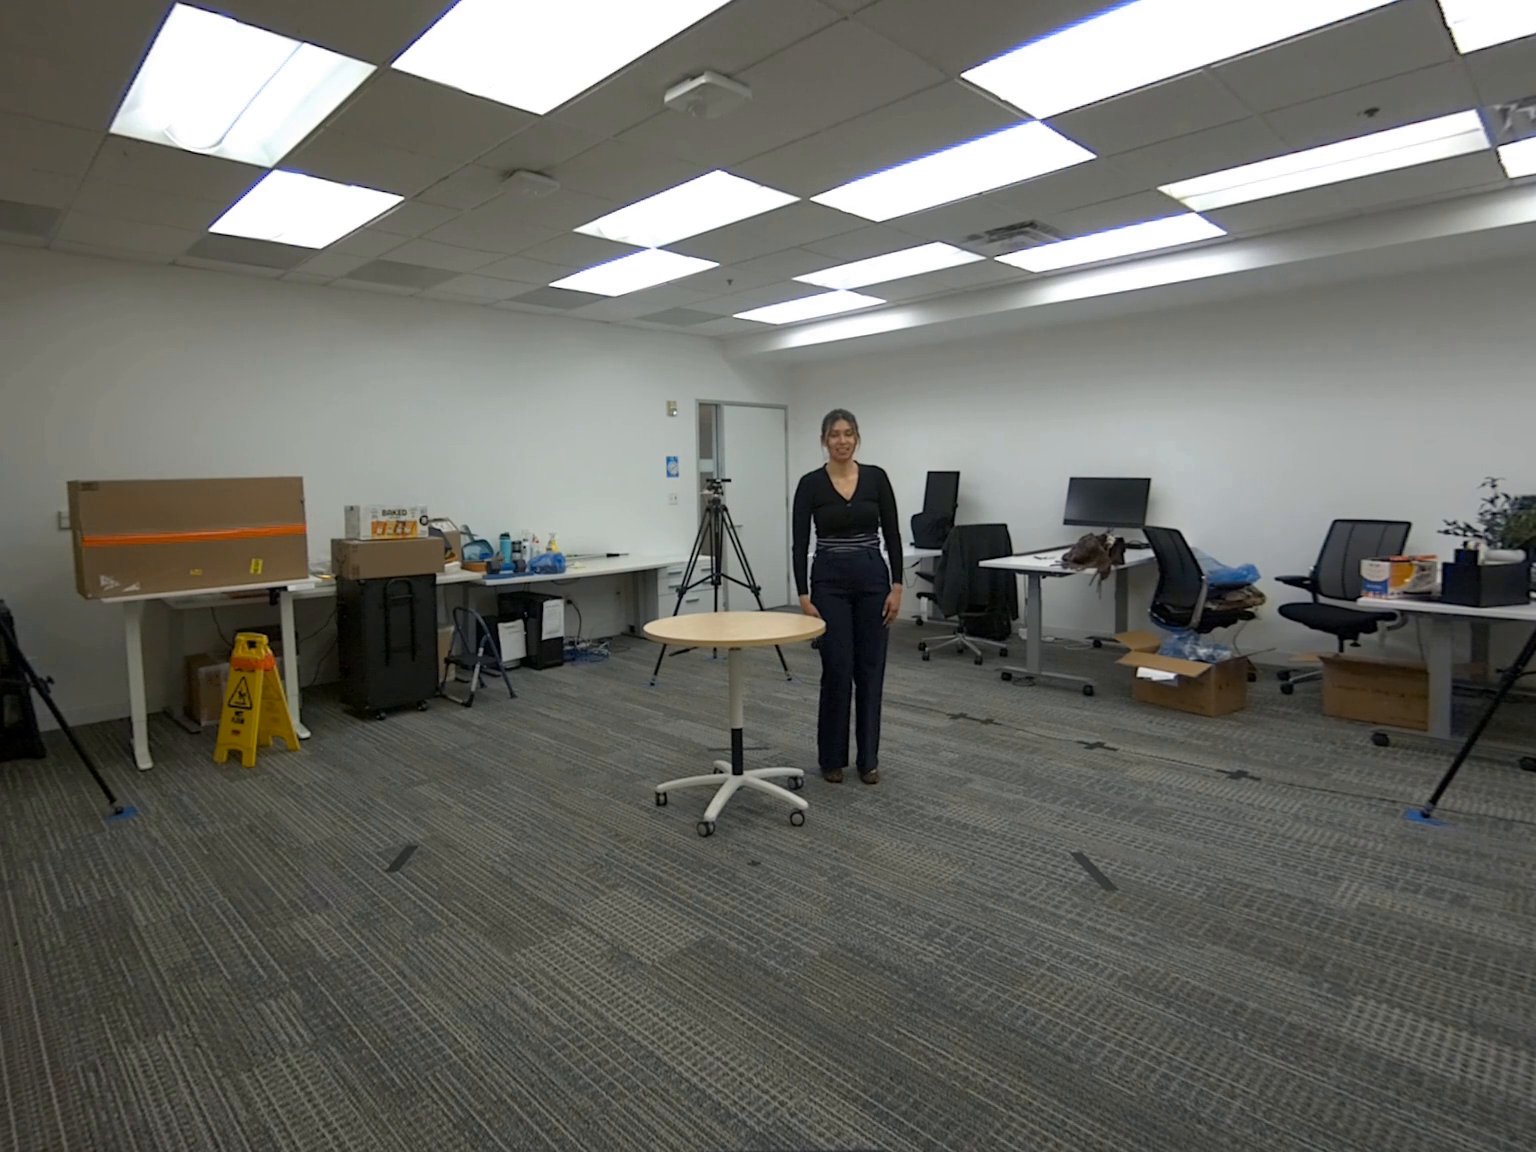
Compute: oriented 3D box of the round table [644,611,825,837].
[{"bbox_3d":[-0.130,0.597,3.631,0.763,0.791,0.767,-1,4,-2],"label":"round table"}]
